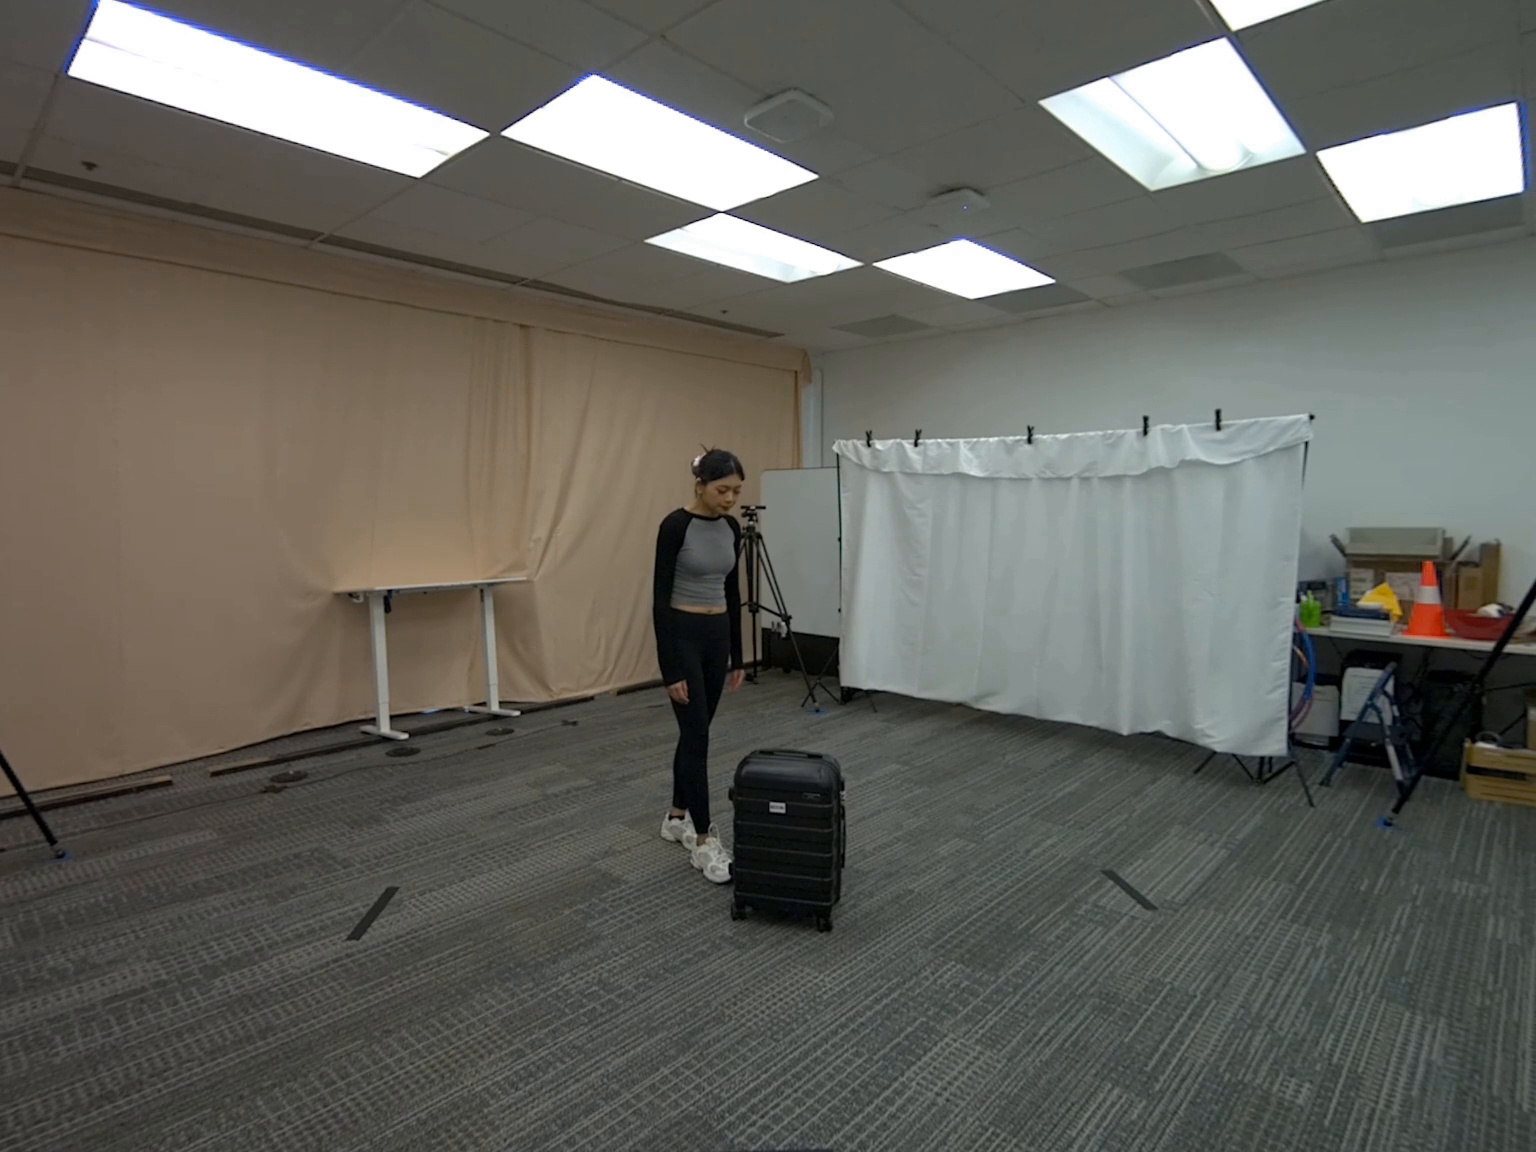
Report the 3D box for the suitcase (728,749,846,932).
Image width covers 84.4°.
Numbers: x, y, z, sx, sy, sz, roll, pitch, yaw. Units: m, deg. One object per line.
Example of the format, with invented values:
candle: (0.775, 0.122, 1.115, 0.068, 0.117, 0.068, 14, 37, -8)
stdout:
suitcase: (0.075, 0.878, 2.863, 0.382, 0.547, 0.245, 2, 5, 16)
